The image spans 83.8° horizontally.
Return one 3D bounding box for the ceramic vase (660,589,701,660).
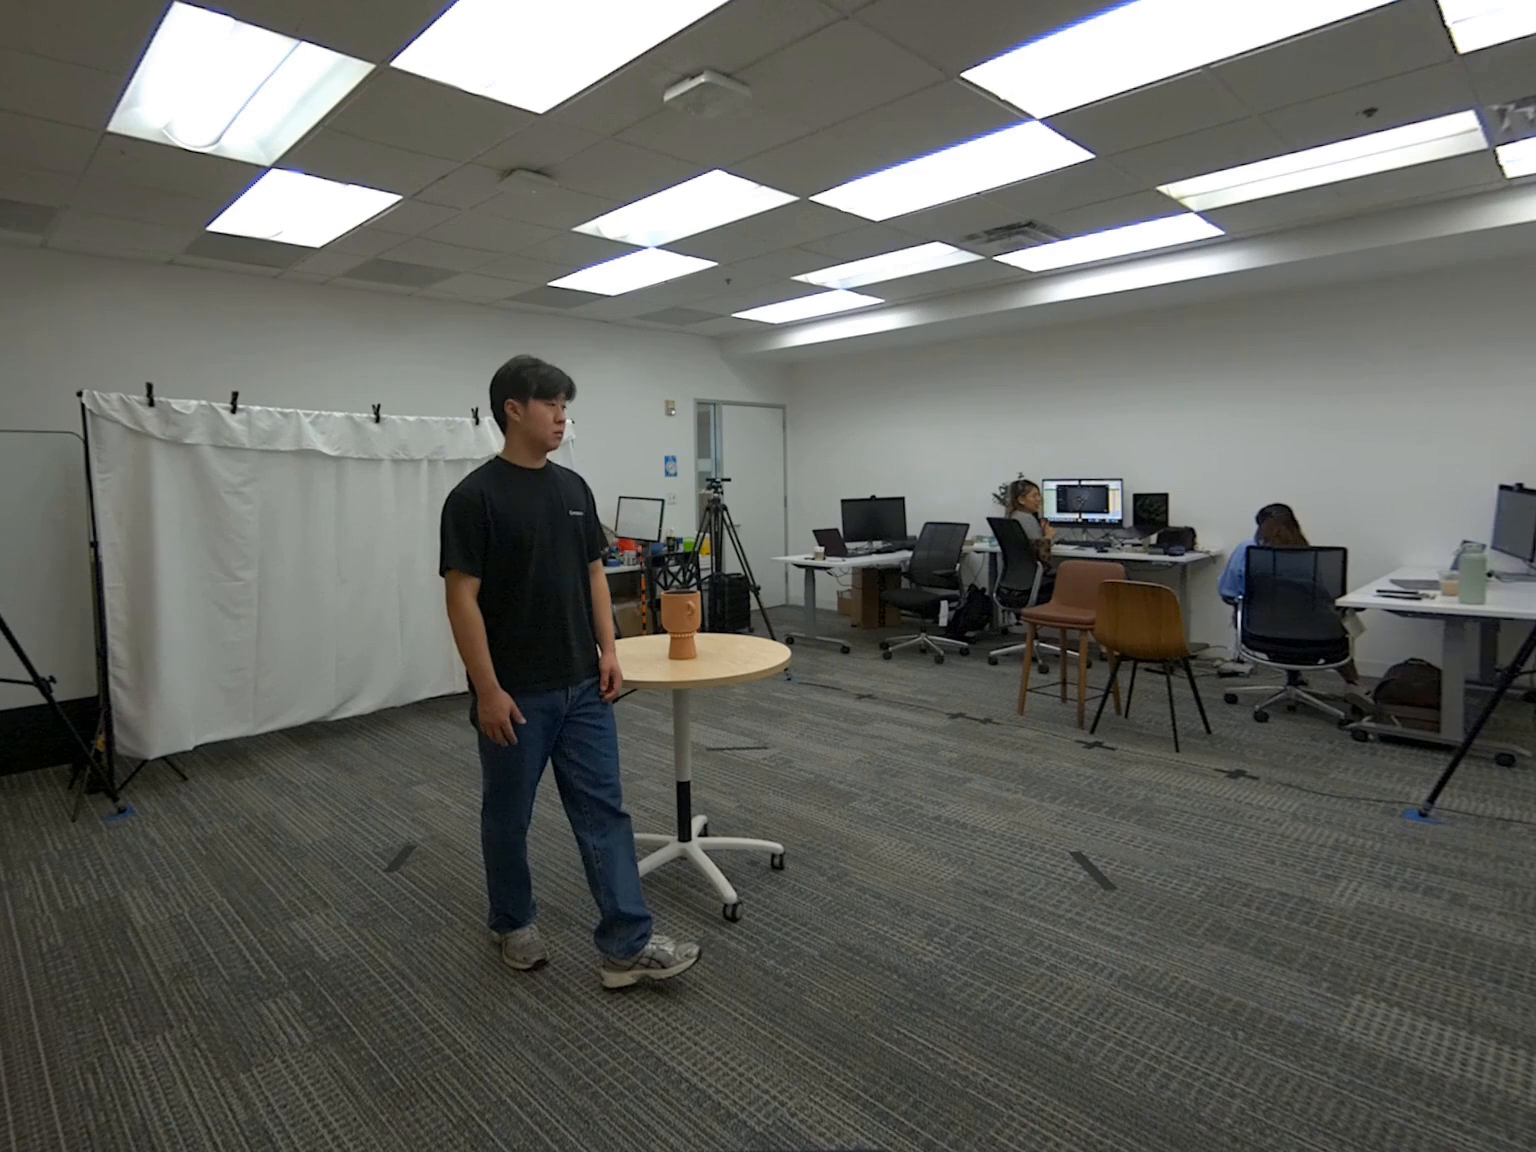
[{"bbox_3d":[-0.287,0.167,2.883,0.136,0.219,0.158,0,5,10],"label":"ceramic vase"}]
